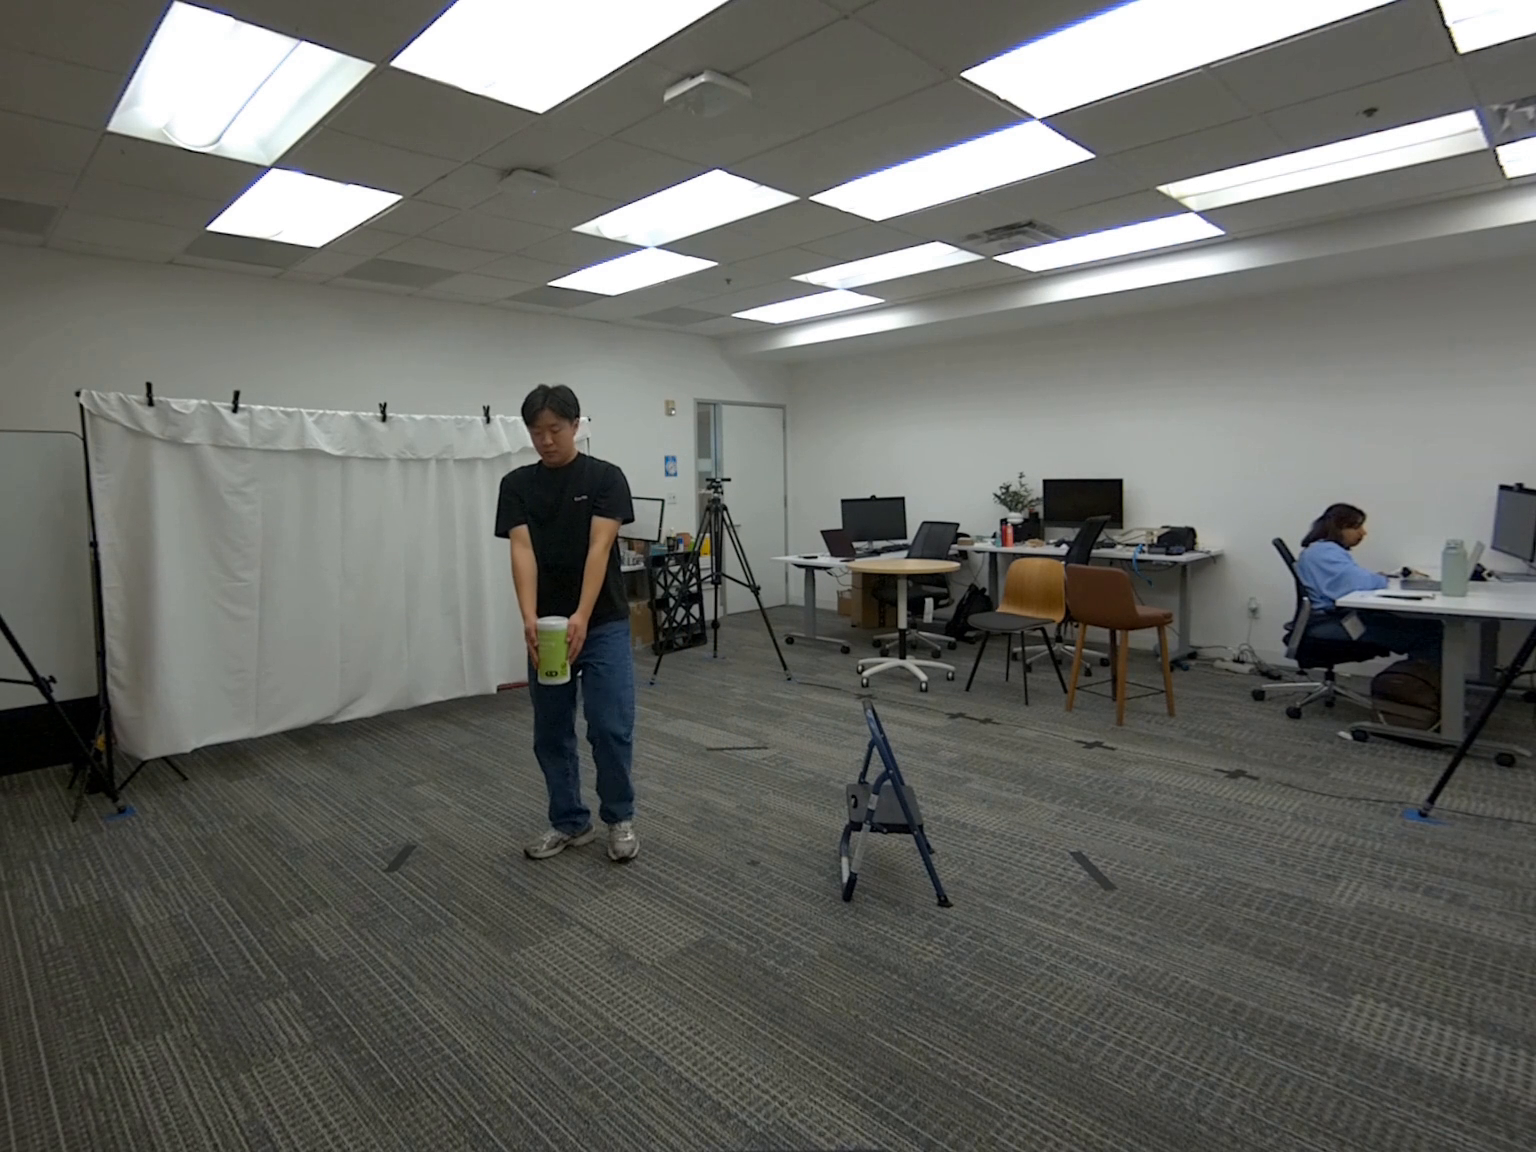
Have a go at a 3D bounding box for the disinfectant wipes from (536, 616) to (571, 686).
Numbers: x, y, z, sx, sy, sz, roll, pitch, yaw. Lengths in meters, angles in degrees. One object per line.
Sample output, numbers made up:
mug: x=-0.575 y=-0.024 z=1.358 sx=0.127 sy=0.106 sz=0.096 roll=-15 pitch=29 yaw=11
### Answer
disinfectant wipes: x=-0.726 y=0.256 z=2.914 sx=0.118 sy=0.216 sz=0.118 roll=0 pitch=5 yaw=-2
